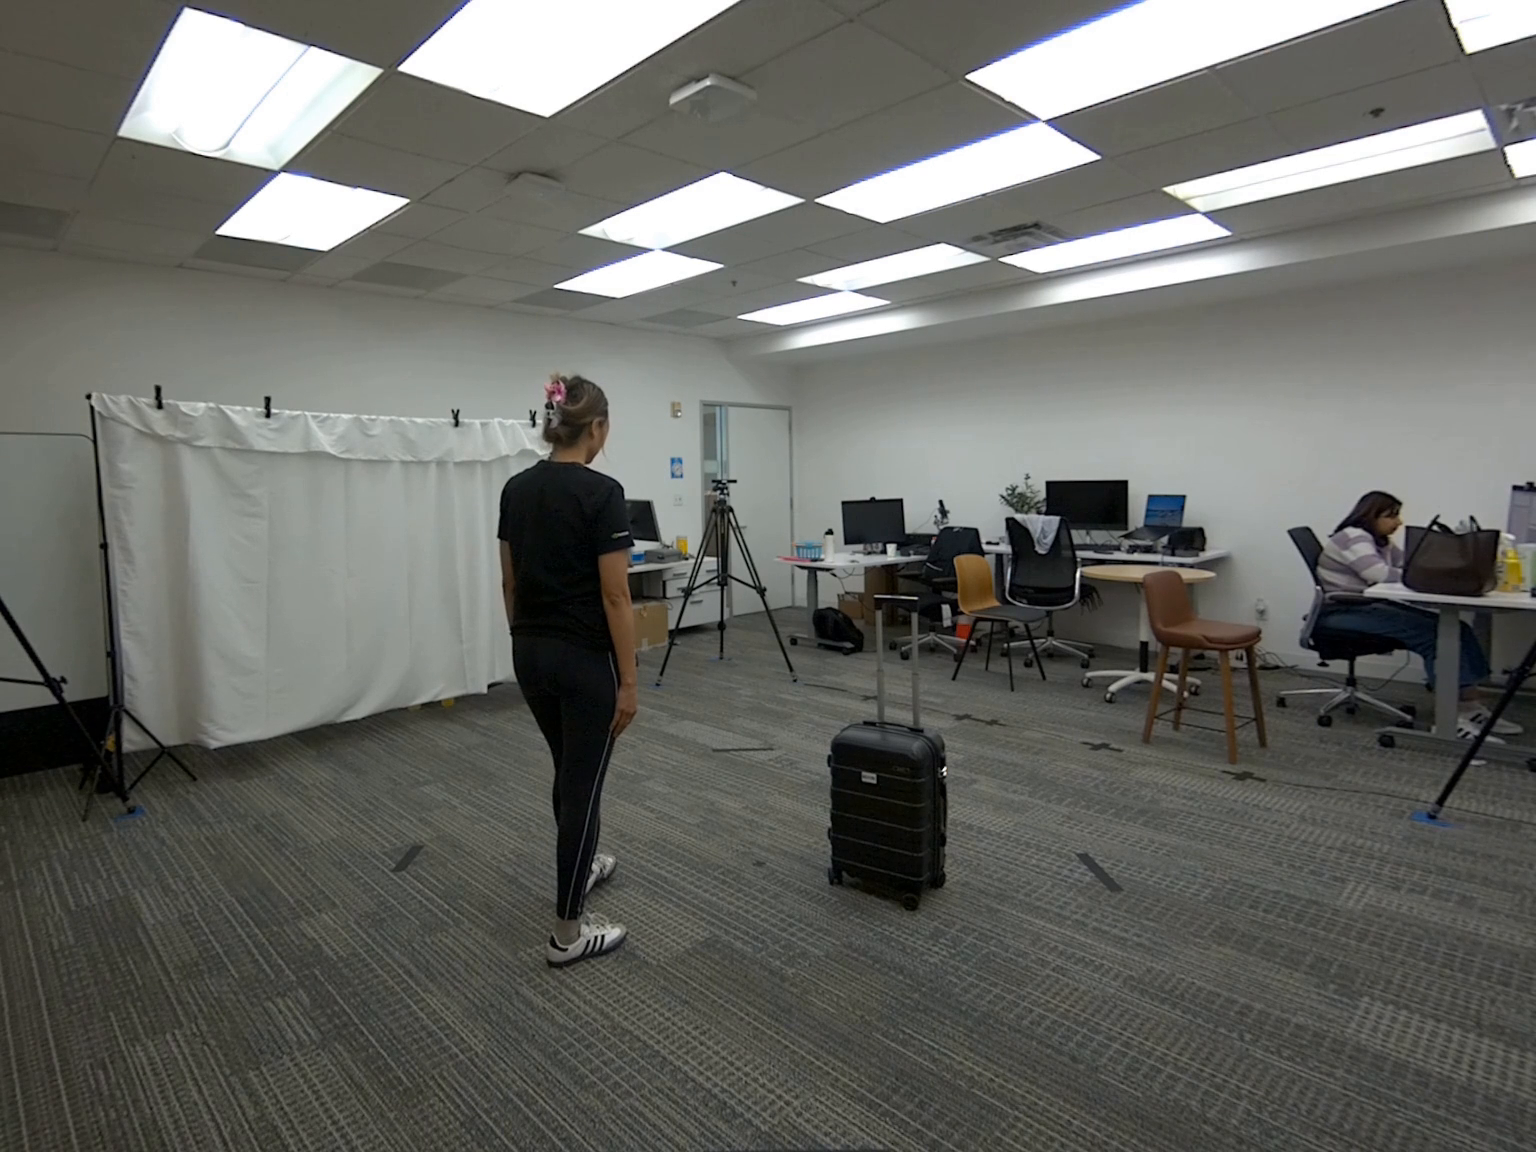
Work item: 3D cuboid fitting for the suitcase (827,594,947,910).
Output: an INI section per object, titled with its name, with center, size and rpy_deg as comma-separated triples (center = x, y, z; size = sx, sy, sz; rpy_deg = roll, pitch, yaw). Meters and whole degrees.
[suitcase]
center = 0.413, 0.589, 2.894
size = 0.395, 0.973, 0.251
rpy_deg = 3, 7, 33
